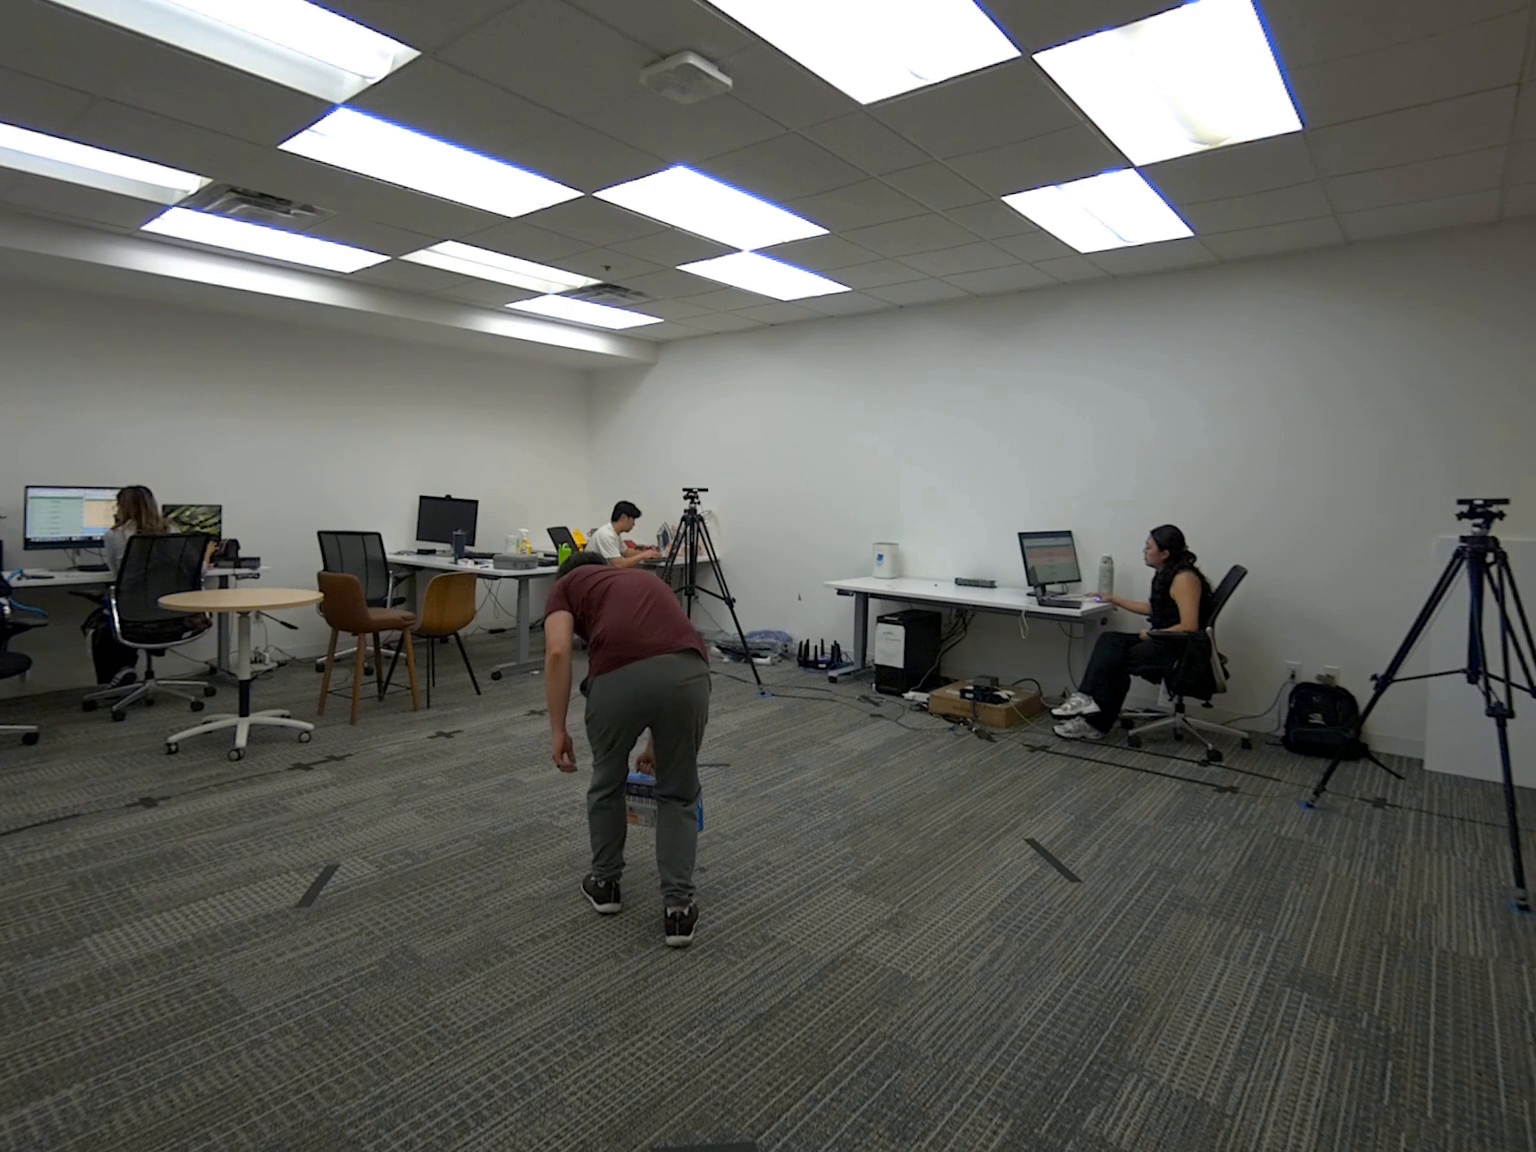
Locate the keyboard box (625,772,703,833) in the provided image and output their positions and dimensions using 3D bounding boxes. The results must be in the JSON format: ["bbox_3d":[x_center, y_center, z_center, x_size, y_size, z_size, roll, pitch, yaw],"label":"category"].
[{"bbox_3d":[-0.446,0.822,3.124,0.449,0.176,0.057,-1,2,30],"label":"keyboard box"}]
